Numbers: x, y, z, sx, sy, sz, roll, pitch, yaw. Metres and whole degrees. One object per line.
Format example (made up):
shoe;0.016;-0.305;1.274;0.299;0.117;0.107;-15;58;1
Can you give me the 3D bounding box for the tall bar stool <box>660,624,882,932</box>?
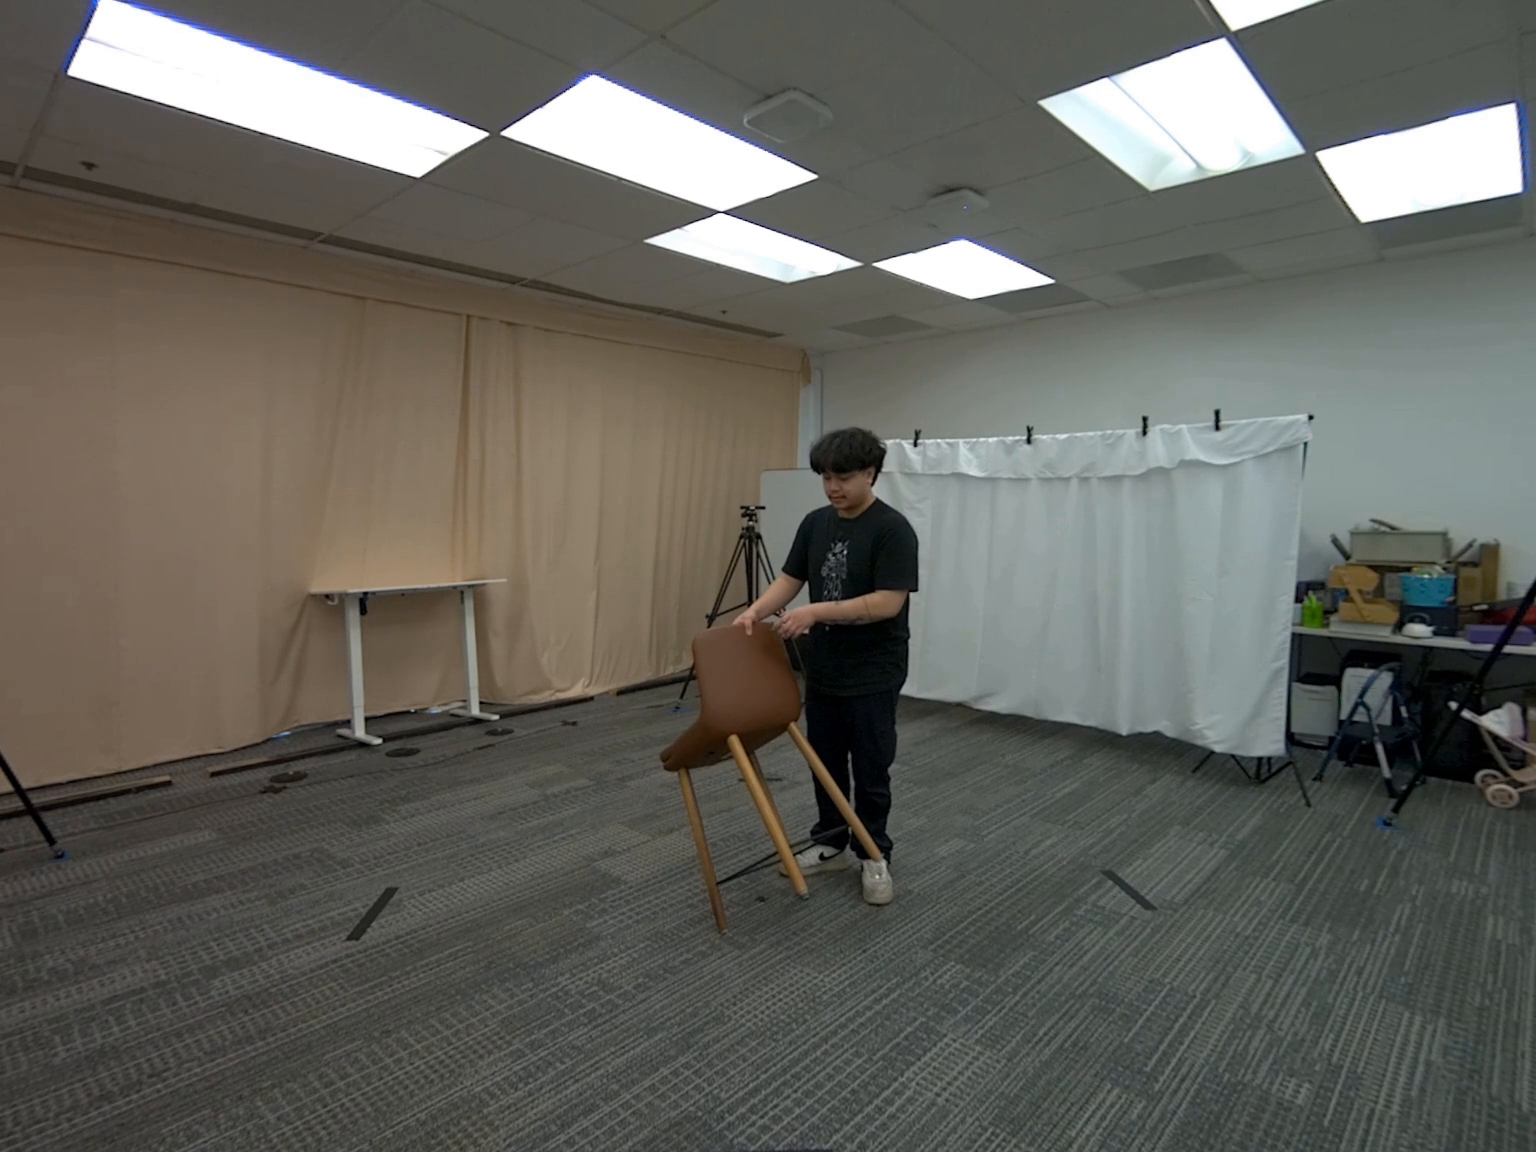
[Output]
tall bar stool;-0.055;0.665;2.893;0.443;0.908;0.472;-4;-29;-41
